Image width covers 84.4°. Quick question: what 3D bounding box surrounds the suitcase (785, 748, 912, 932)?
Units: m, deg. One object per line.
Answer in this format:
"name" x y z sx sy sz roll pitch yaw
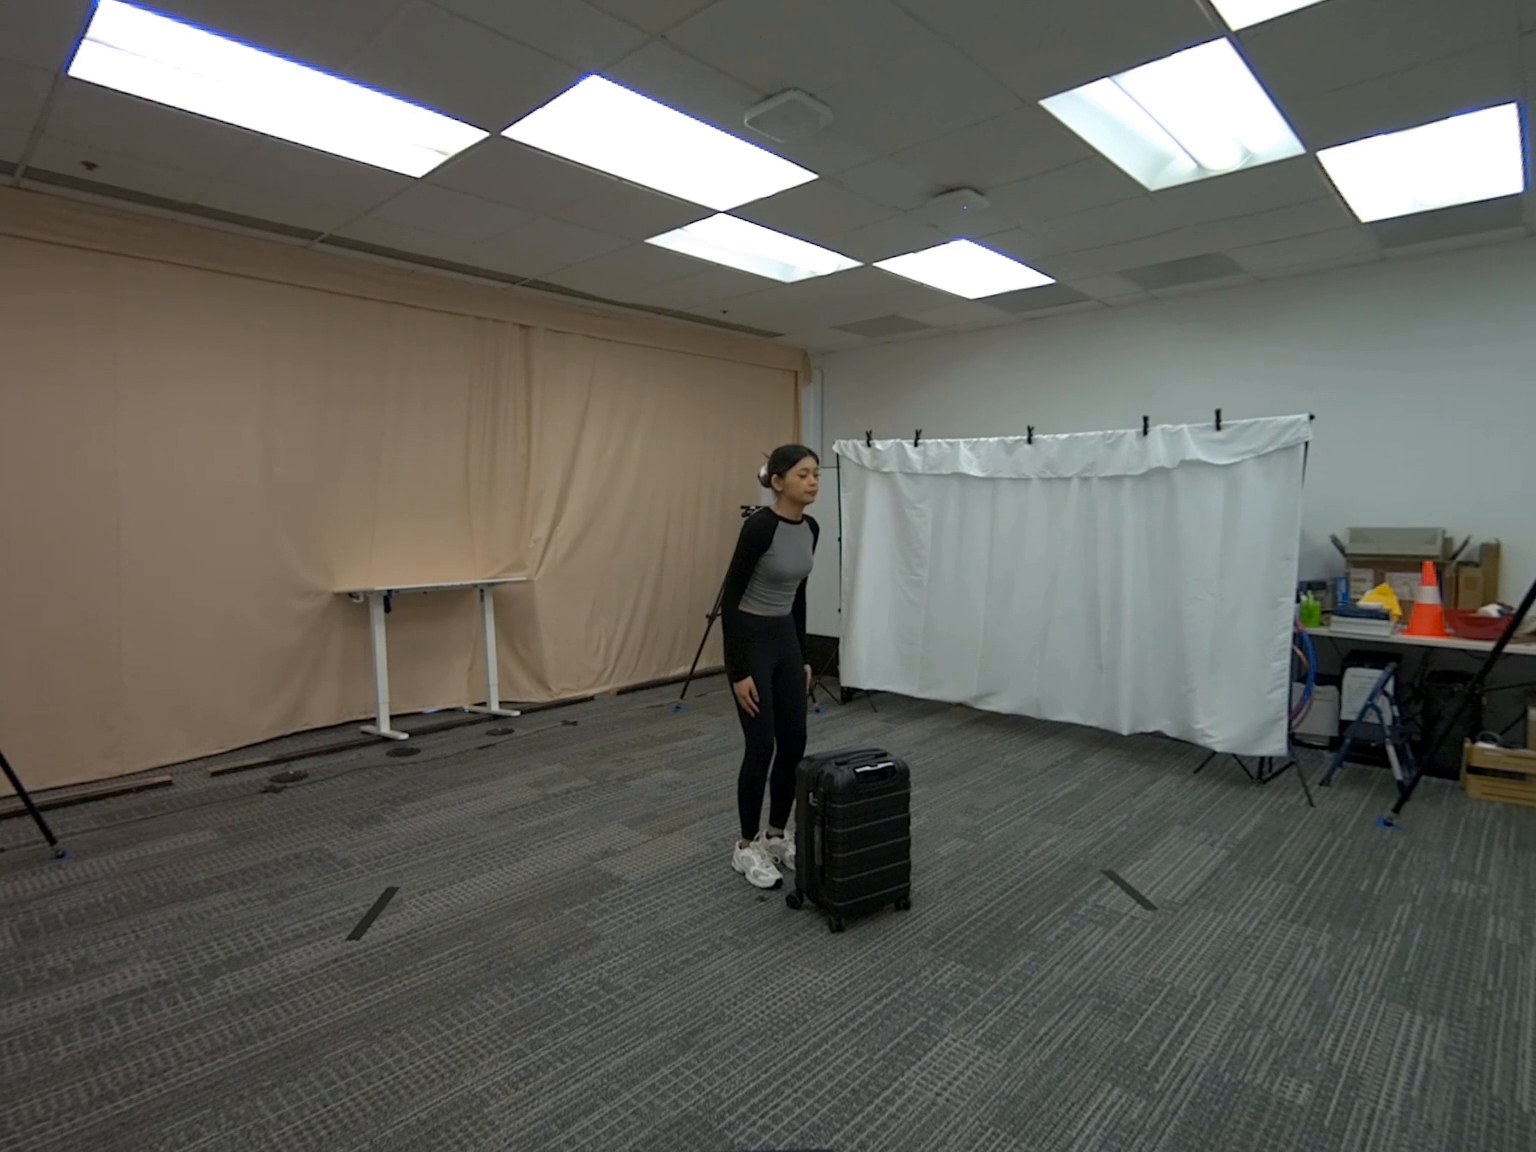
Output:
"suitcase" 0.295 0.871 2.884 0.365 0.548 0.256 -4 4 -32
